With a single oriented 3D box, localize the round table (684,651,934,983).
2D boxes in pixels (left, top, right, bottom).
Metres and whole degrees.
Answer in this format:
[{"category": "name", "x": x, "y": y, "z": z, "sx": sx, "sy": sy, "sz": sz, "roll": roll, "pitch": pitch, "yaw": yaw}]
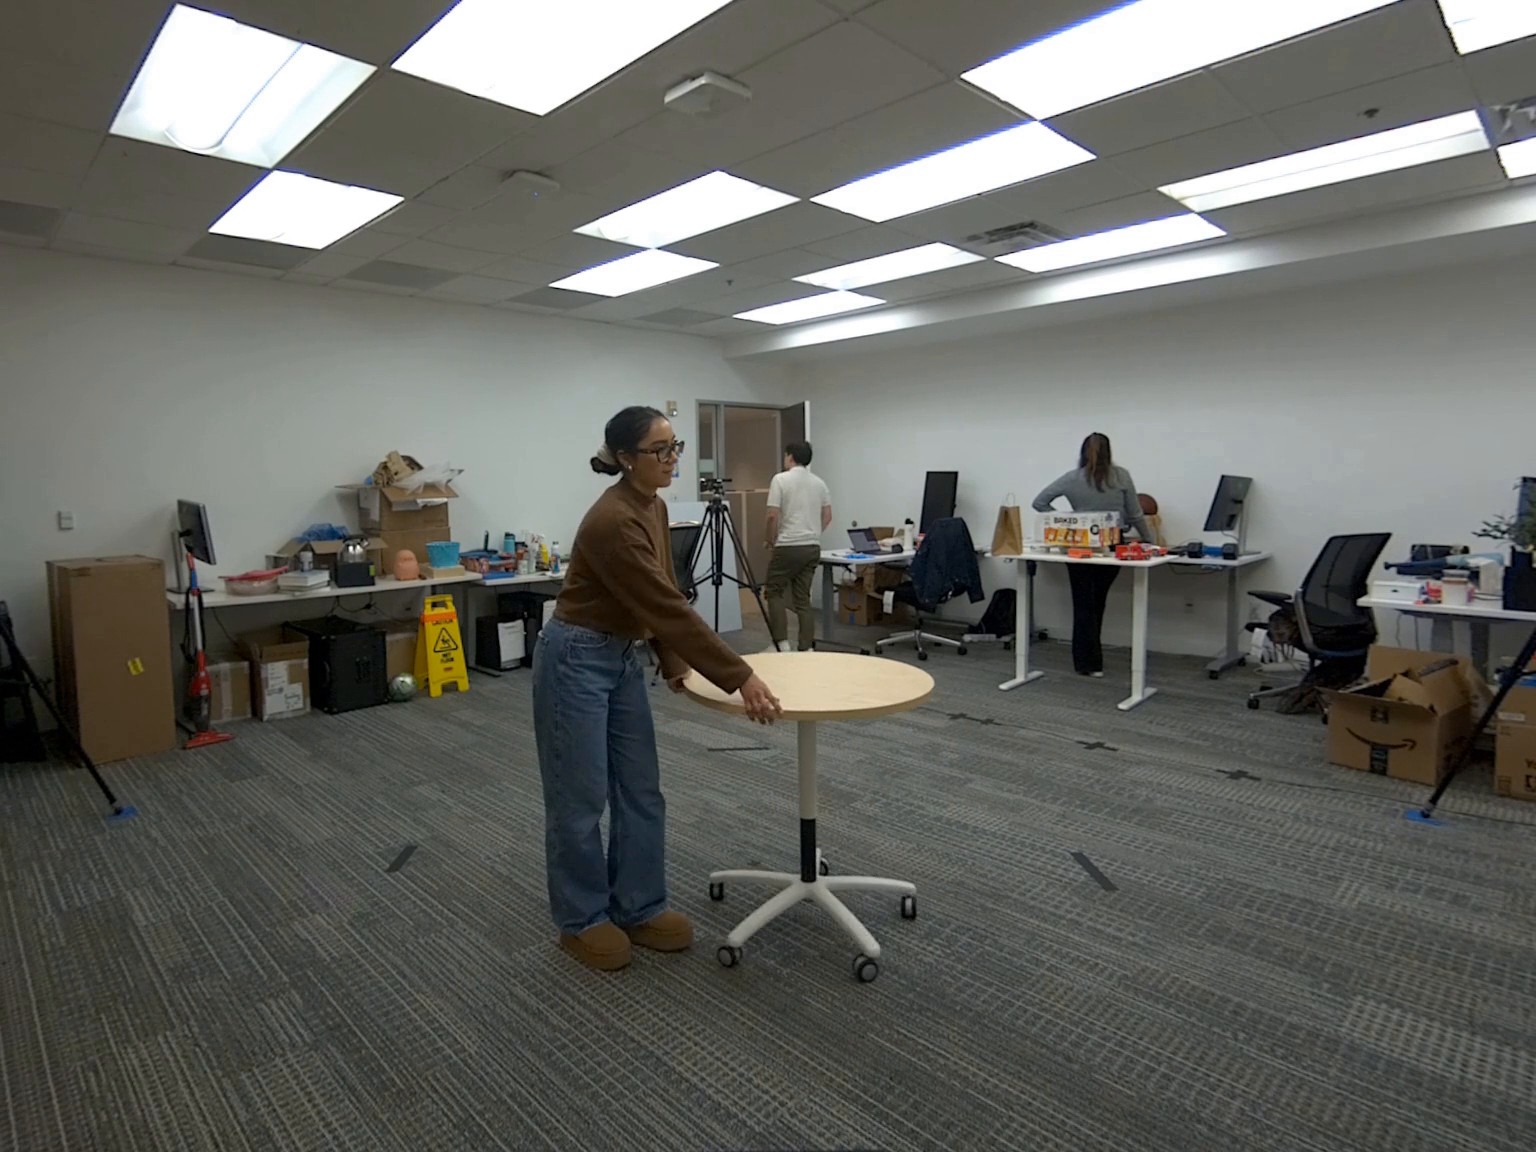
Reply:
[{"category": "round table", "x": 0.133, "y": 0.699, "z": 2.676, "sx": 0.784, "sy": 0.783, "sz": 0.789, "roll": -1, "pitch": 5, "yaw": -2}]
